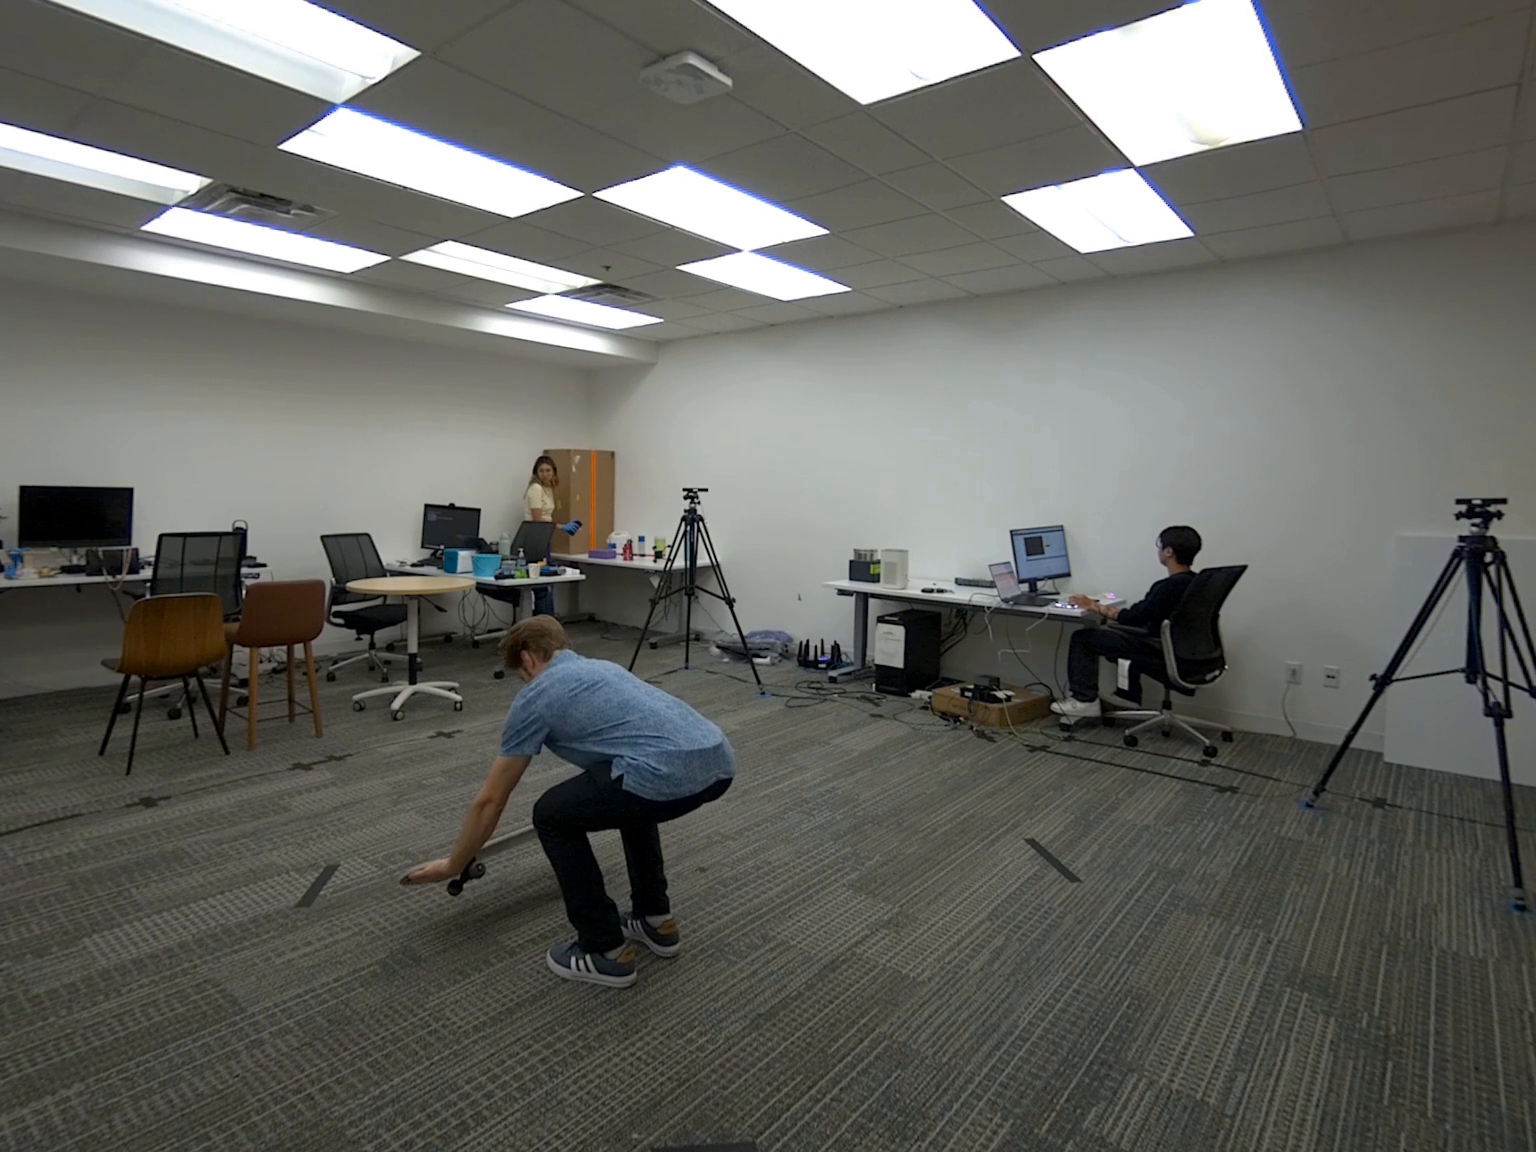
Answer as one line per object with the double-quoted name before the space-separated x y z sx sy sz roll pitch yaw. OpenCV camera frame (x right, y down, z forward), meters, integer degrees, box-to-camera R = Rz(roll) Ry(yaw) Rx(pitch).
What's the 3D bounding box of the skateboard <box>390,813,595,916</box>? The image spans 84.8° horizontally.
"skateboard" -0.862 0.912 2.860 0.194 0.113 0.763 -43 -21 32
